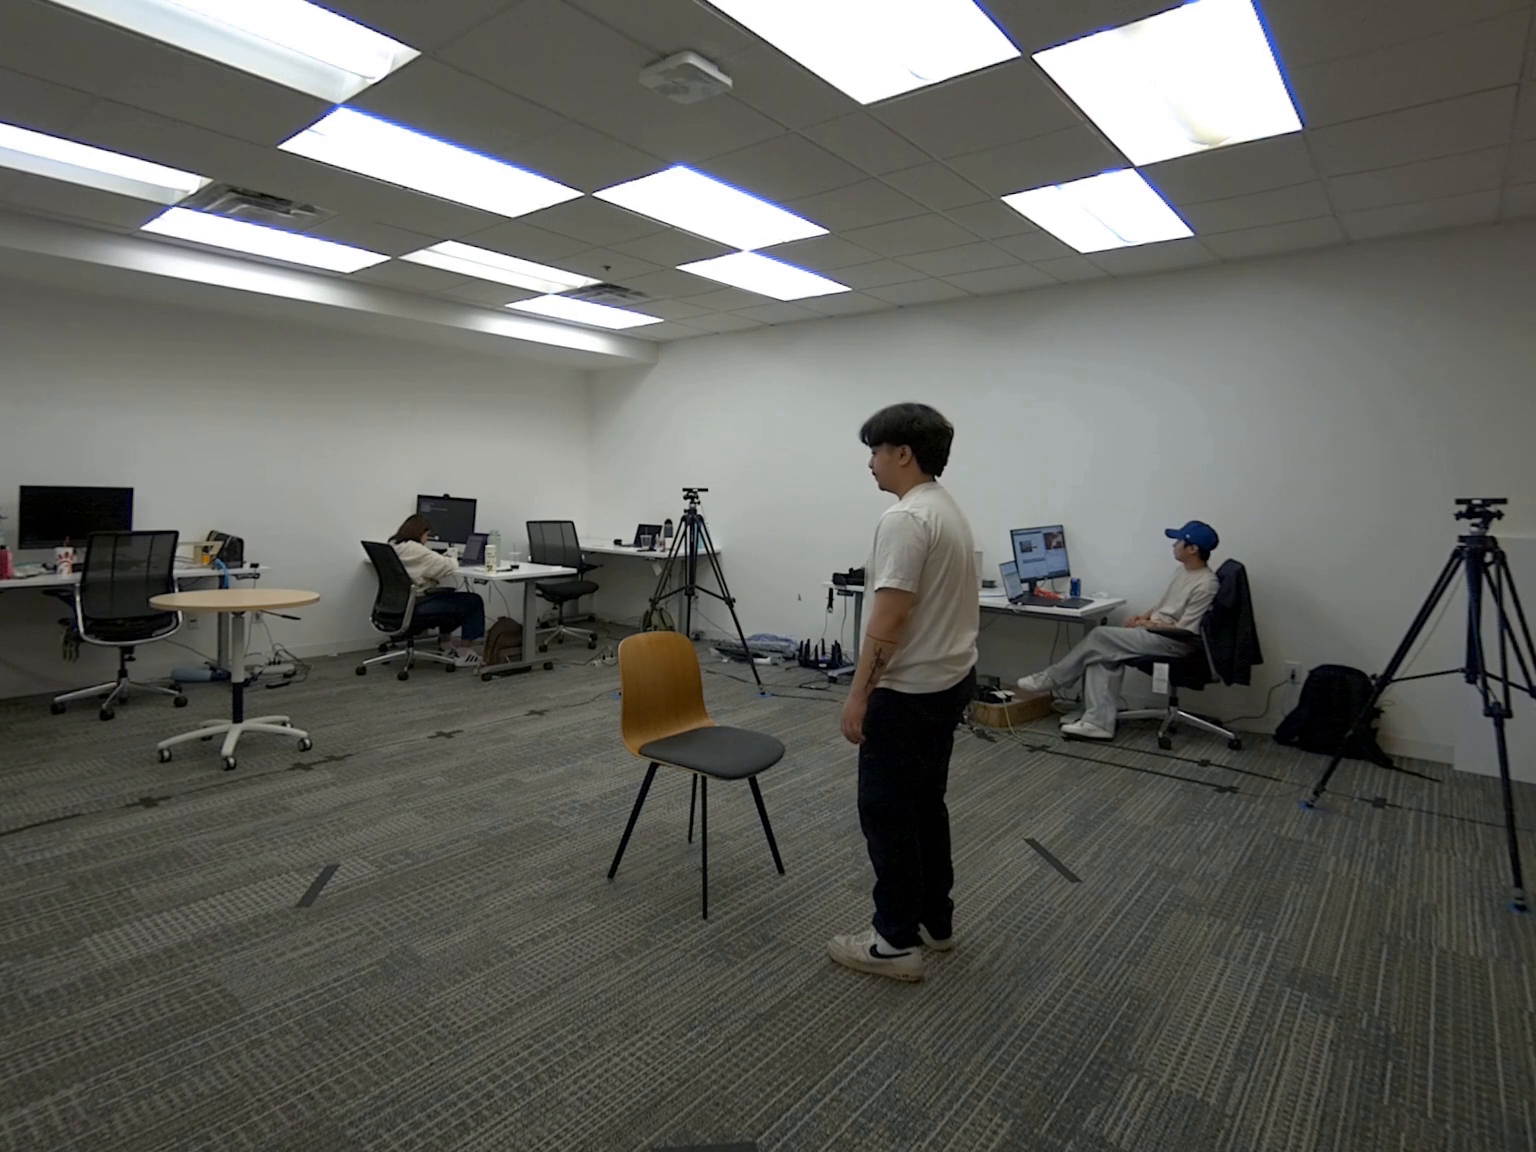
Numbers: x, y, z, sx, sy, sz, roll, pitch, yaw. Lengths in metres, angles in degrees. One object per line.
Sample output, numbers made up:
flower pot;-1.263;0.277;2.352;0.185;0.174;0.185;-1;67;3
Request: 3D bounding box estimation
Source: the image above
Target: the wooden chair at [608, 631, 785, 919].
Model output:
wooden chair;-0.247;0.649;3.018;0.539;0.877;0.464;-2;0;38
